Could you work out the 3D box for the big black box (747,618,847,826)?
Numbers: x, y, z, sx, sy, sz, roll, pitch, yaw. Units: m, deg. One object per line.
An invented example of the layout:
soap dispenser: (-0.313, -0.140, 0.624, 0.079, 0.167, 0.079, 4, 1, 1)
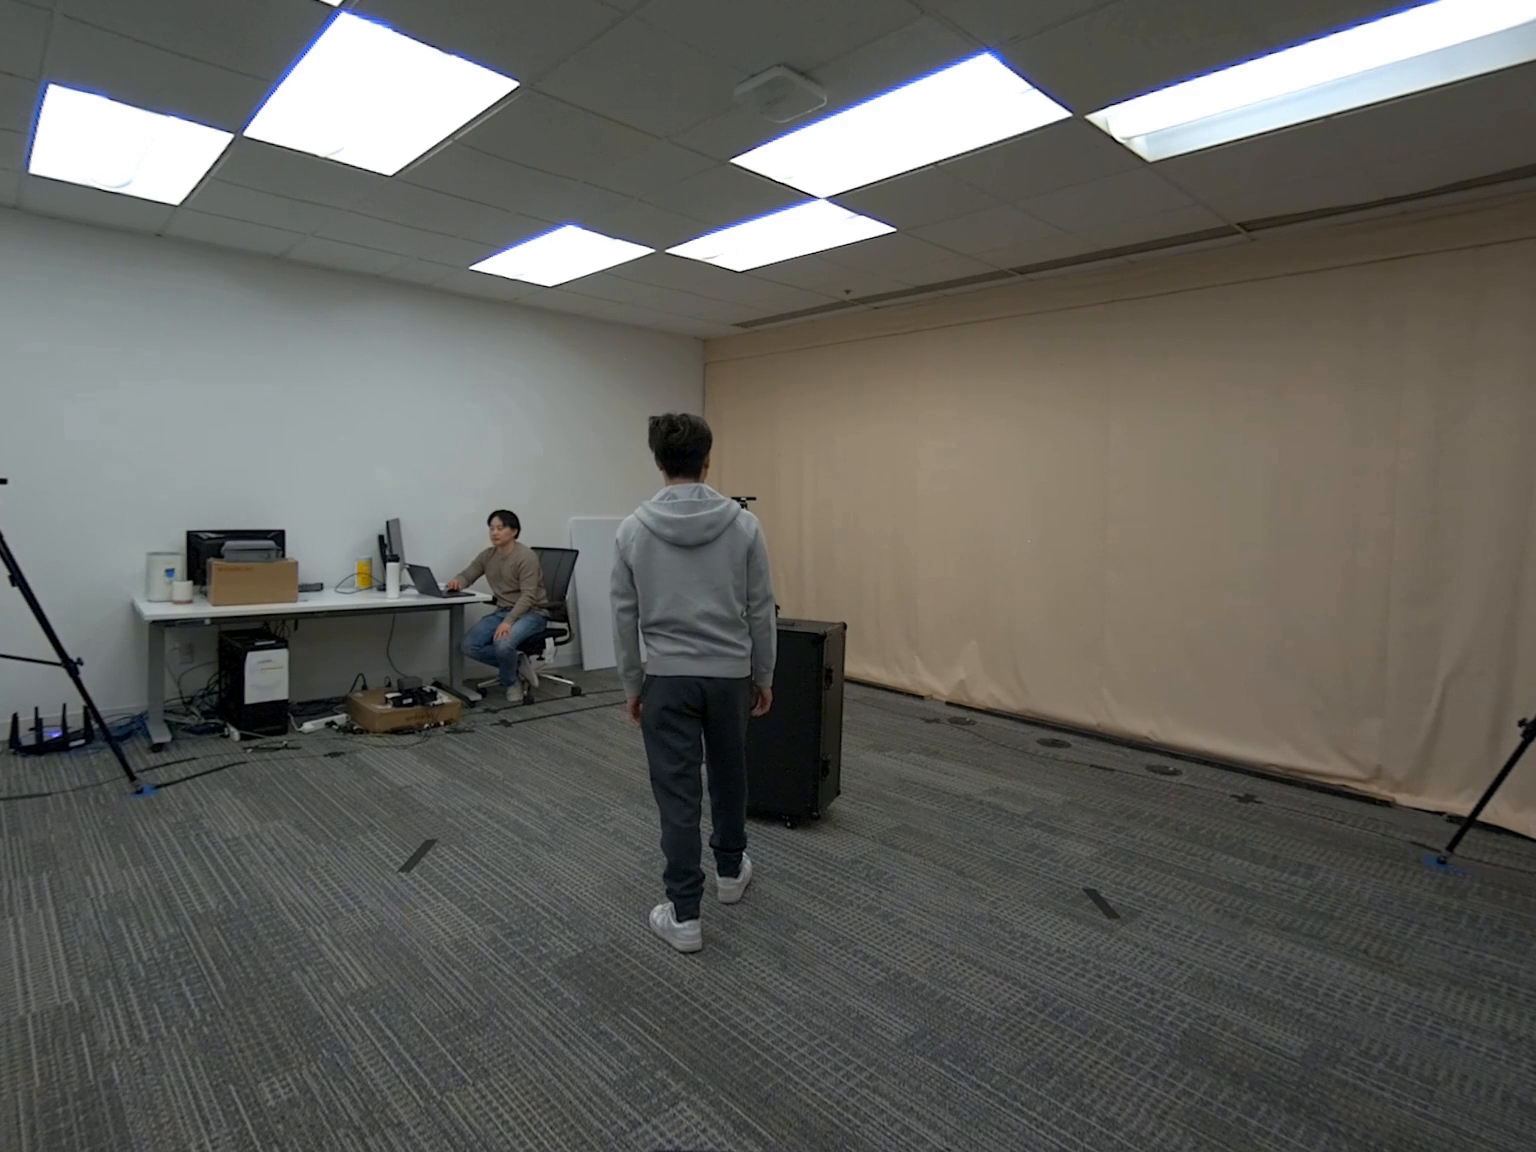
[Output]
big black box: (0.056, 0.629, 3.743, 0.531, 0.860, 0.390, 4, 3, 22)
